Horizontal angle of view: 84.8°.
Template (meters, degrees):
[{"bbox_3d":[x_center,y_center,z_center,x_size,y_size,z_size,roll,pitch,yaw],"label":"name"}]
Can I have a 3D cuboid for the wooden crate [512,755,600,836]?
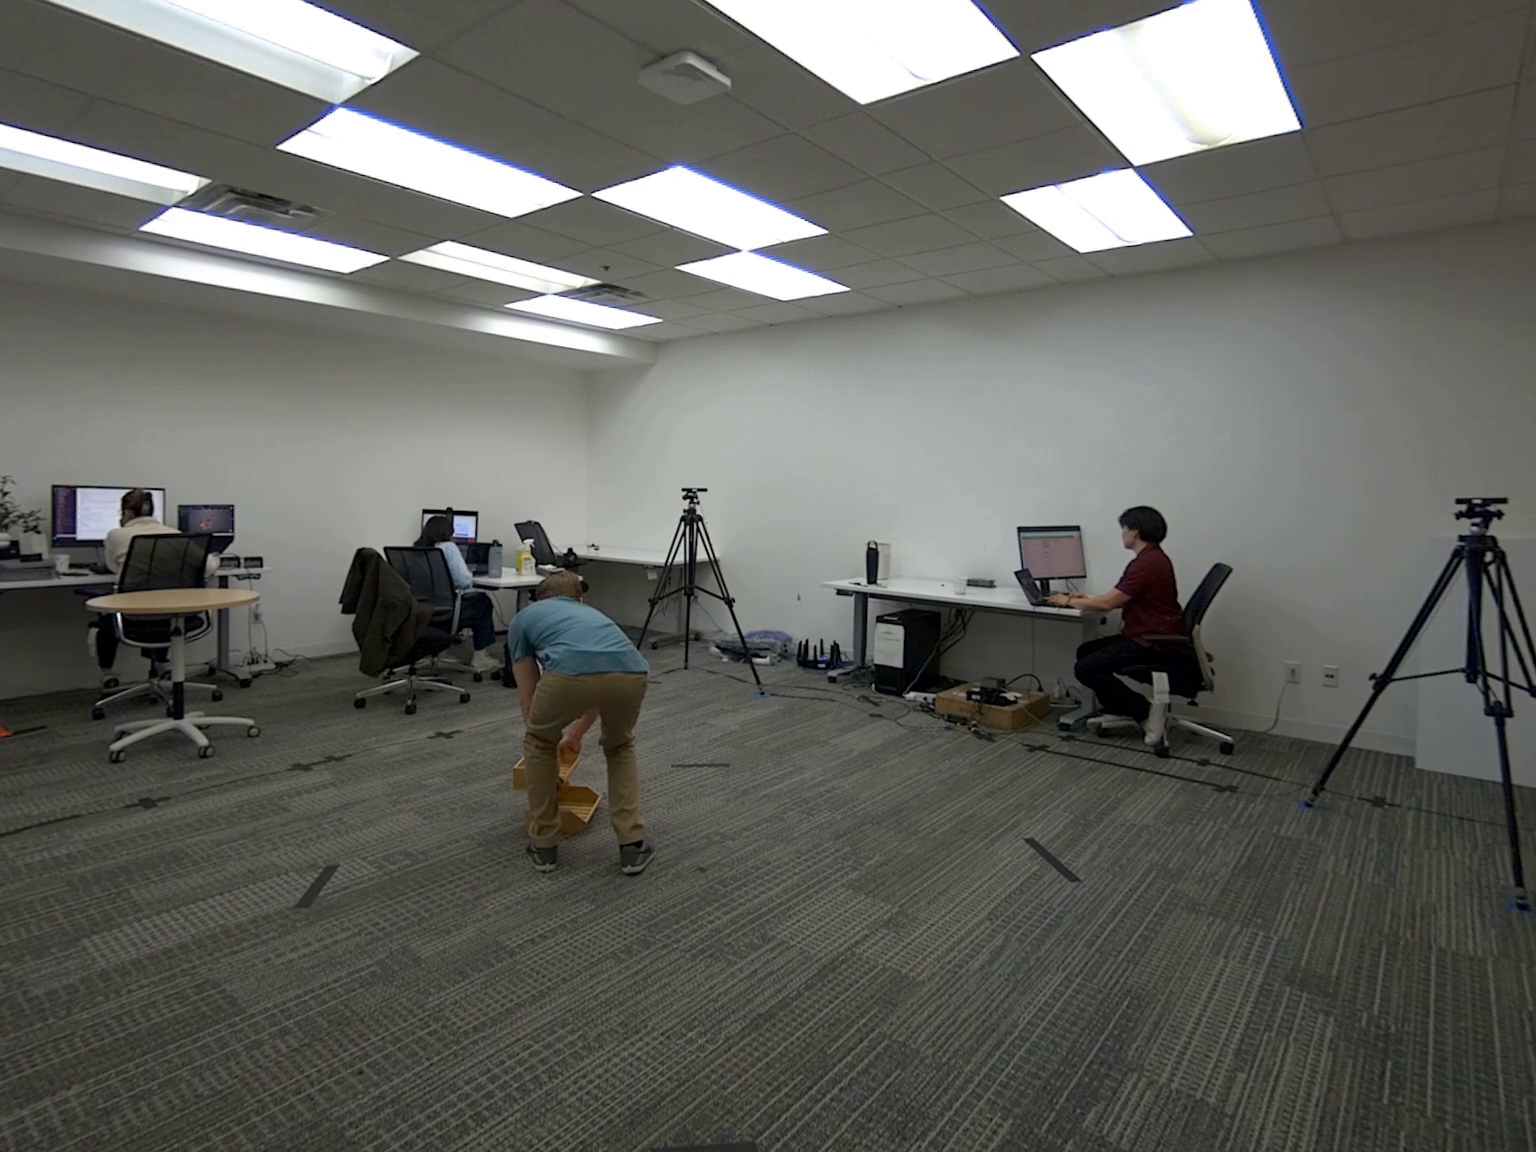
[{"bbox_3d":[-0.885,0.882,3.564,0.303,0.272,0.325,-1,4,1],"label":"wooden crate"}]
